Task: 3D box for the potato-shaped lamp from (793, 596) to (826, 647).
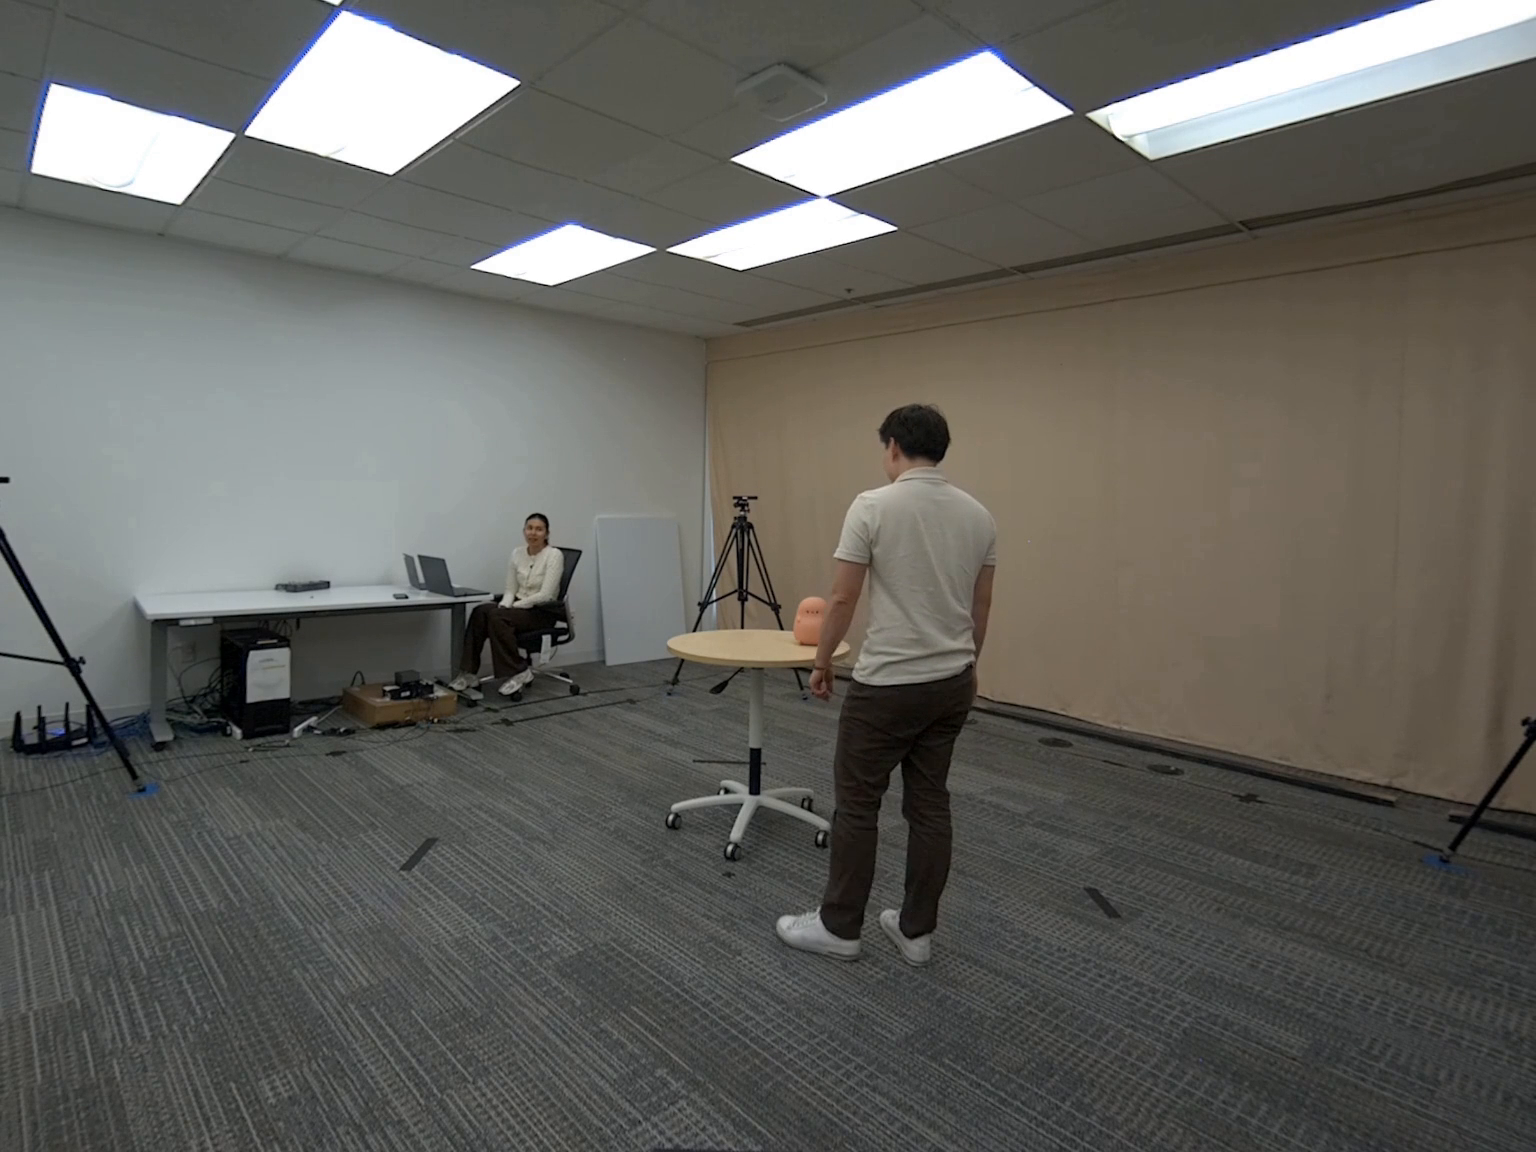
[{"bbox_3d":[0.185,0.186,3.559,0.166,0.197,0.170,7,7,10],"label":"potato-shaped lamp"}]
